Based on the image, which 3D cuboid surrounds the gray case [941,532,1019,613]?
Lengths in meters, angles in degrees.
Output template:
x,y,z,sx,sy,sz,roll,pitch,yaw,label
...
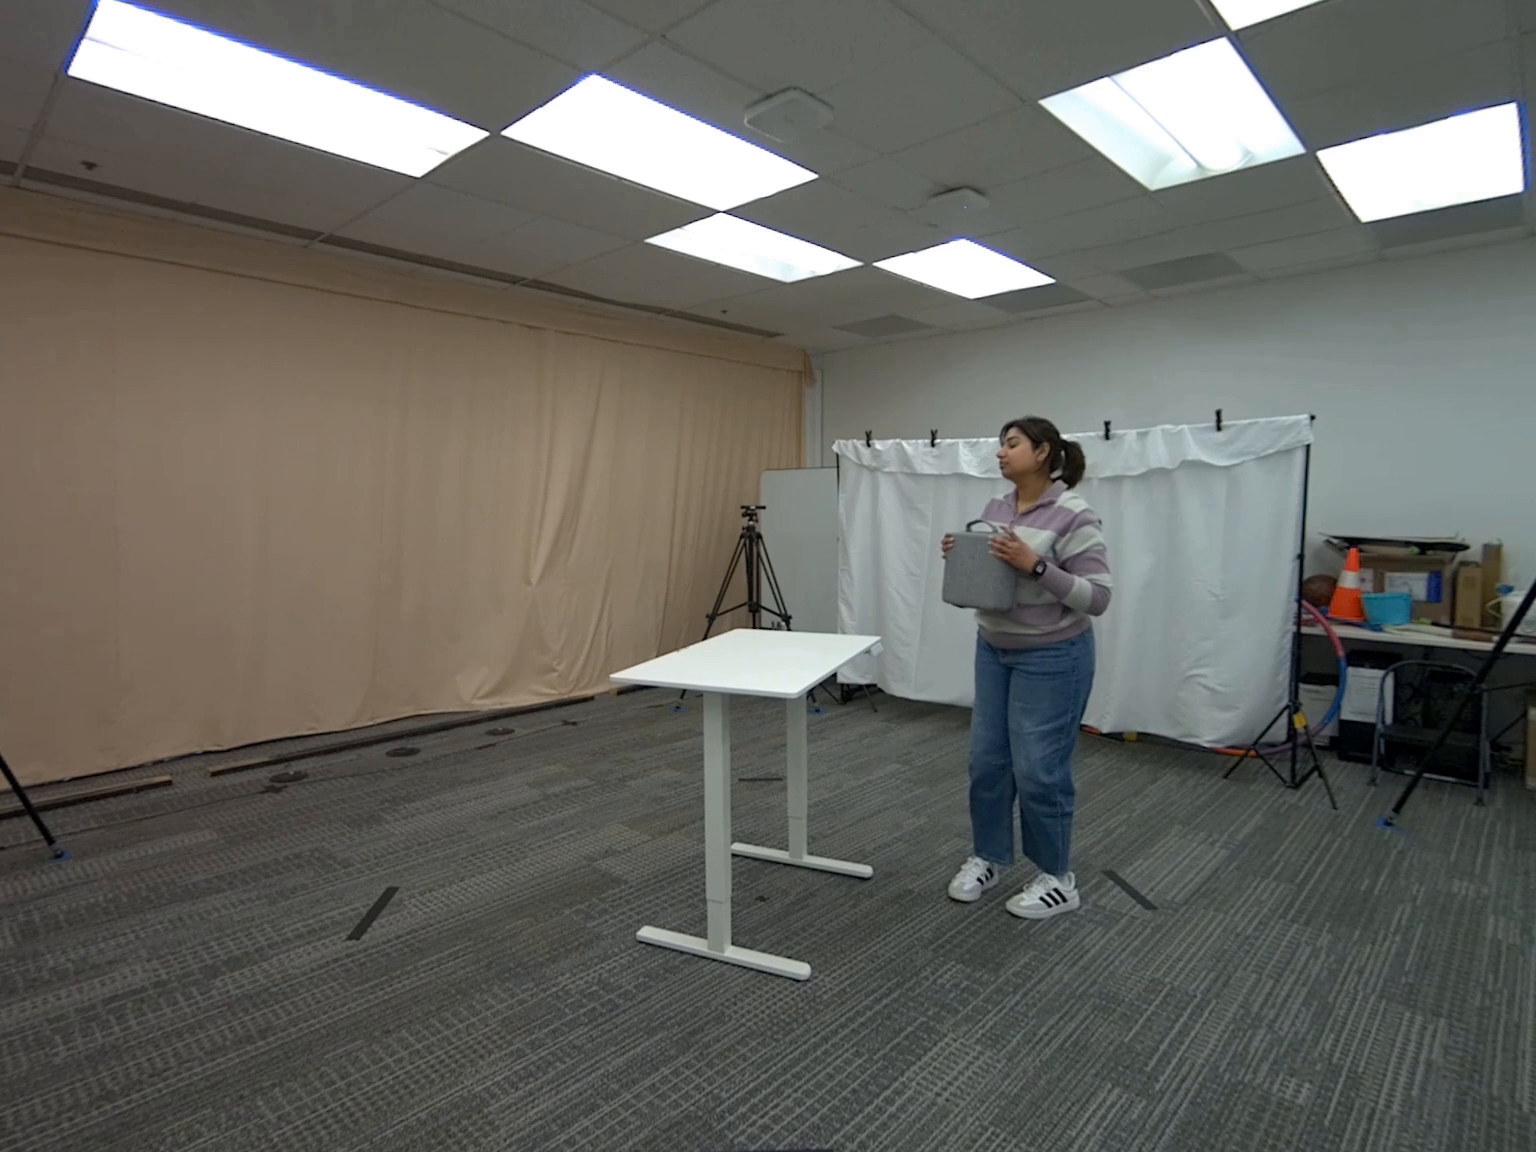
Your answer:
x,y,z,sx,sy,sz,roll,pitch,yaw,label
0.710,-0.015,2.779,0.101,0.260,0.264,2,1,-28,gray case
